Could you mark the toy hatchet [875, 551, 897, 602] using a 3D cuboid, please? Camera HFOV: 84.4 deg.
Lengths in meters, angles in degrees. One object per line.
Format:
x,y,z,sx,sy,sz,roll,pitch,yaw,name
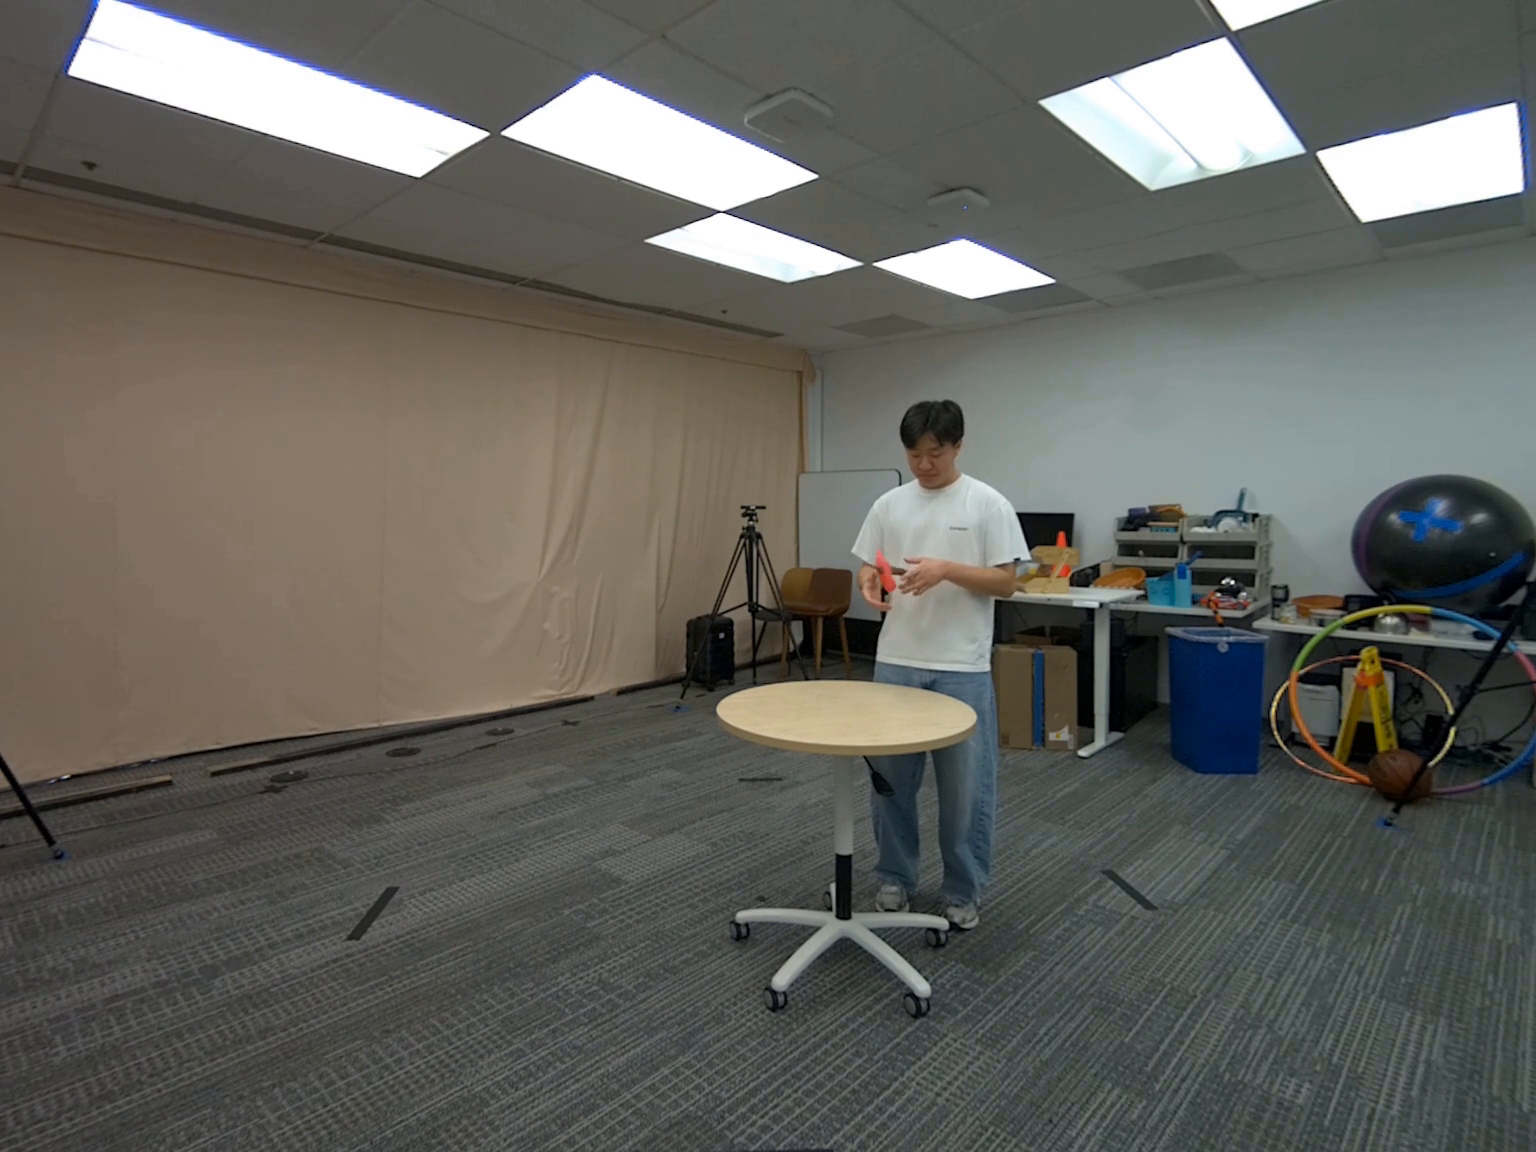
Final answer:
0.403,0.071,2.631,0.030,0.134,0.261,-17,-35,14,toy hatchet
